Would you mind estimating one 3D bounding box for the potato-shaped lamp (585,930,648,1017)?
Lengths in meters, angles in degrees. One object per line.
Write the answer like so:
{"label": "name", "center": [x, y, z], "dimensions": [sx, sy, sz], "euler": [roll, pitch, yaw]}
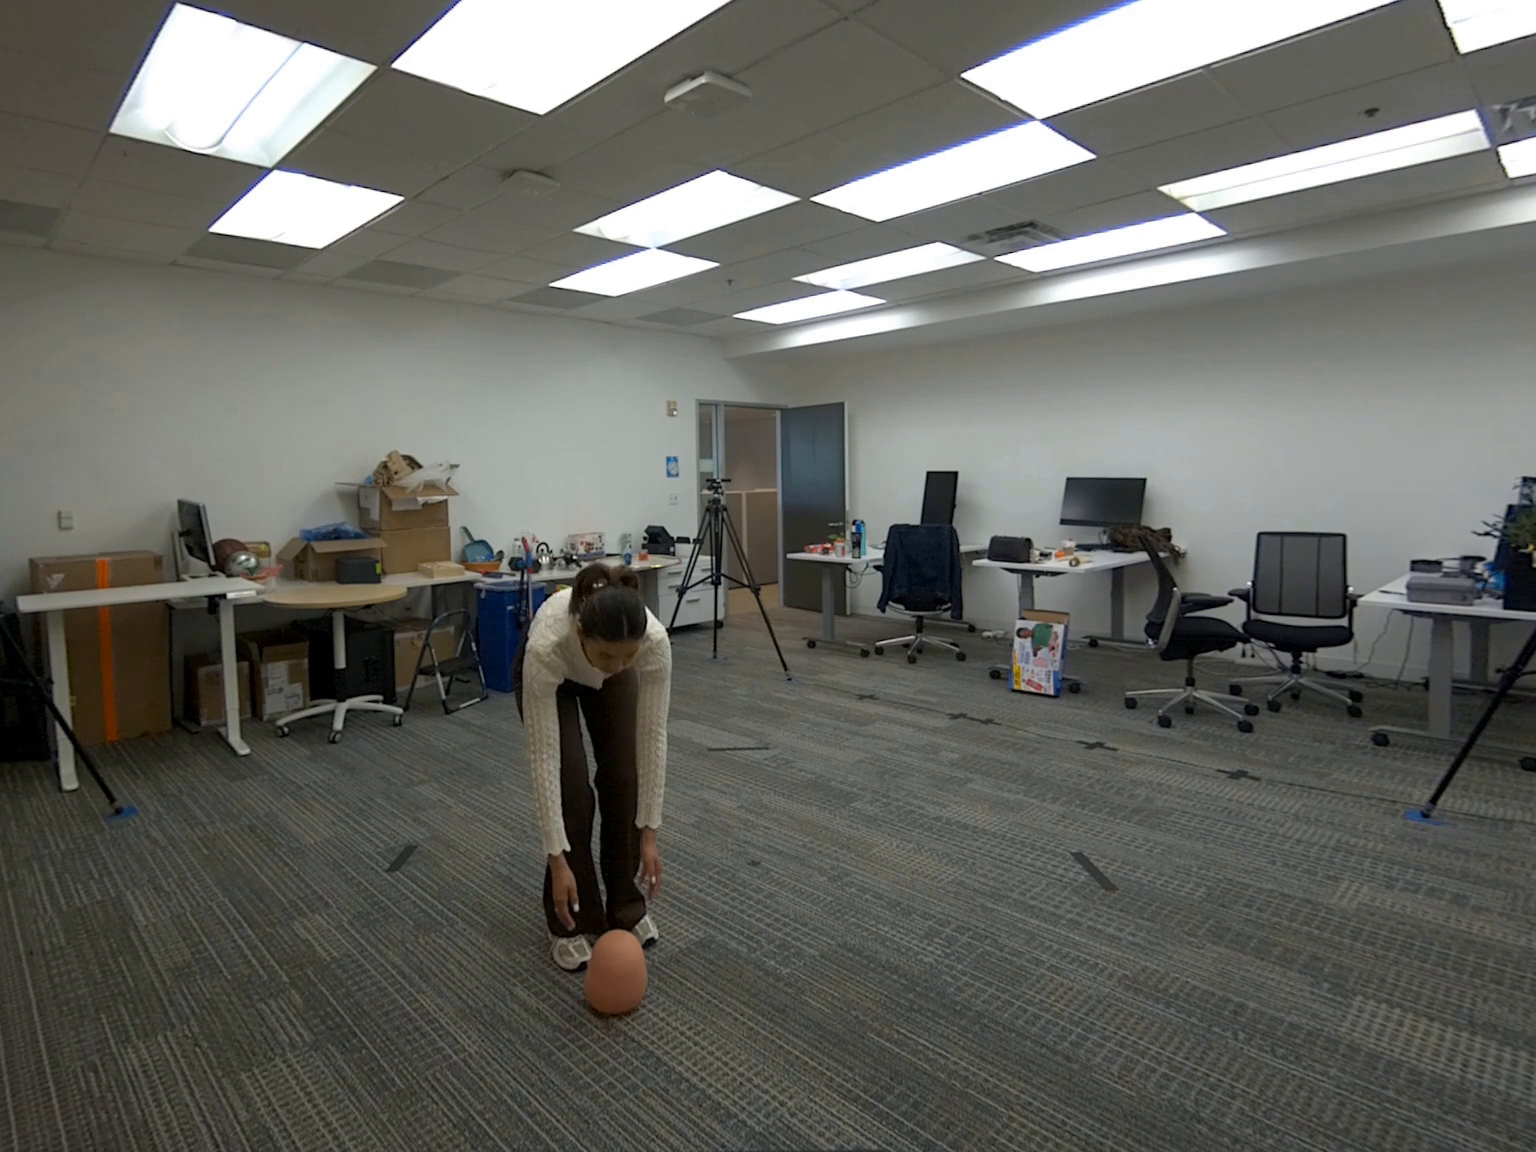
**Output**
{"label": "potato-shaped lamp", "center": [-0.399, 1.046, 2.286], "dimensions": [0.160, 0.197, 0.176], "euler": [-2, 6, -34]}
